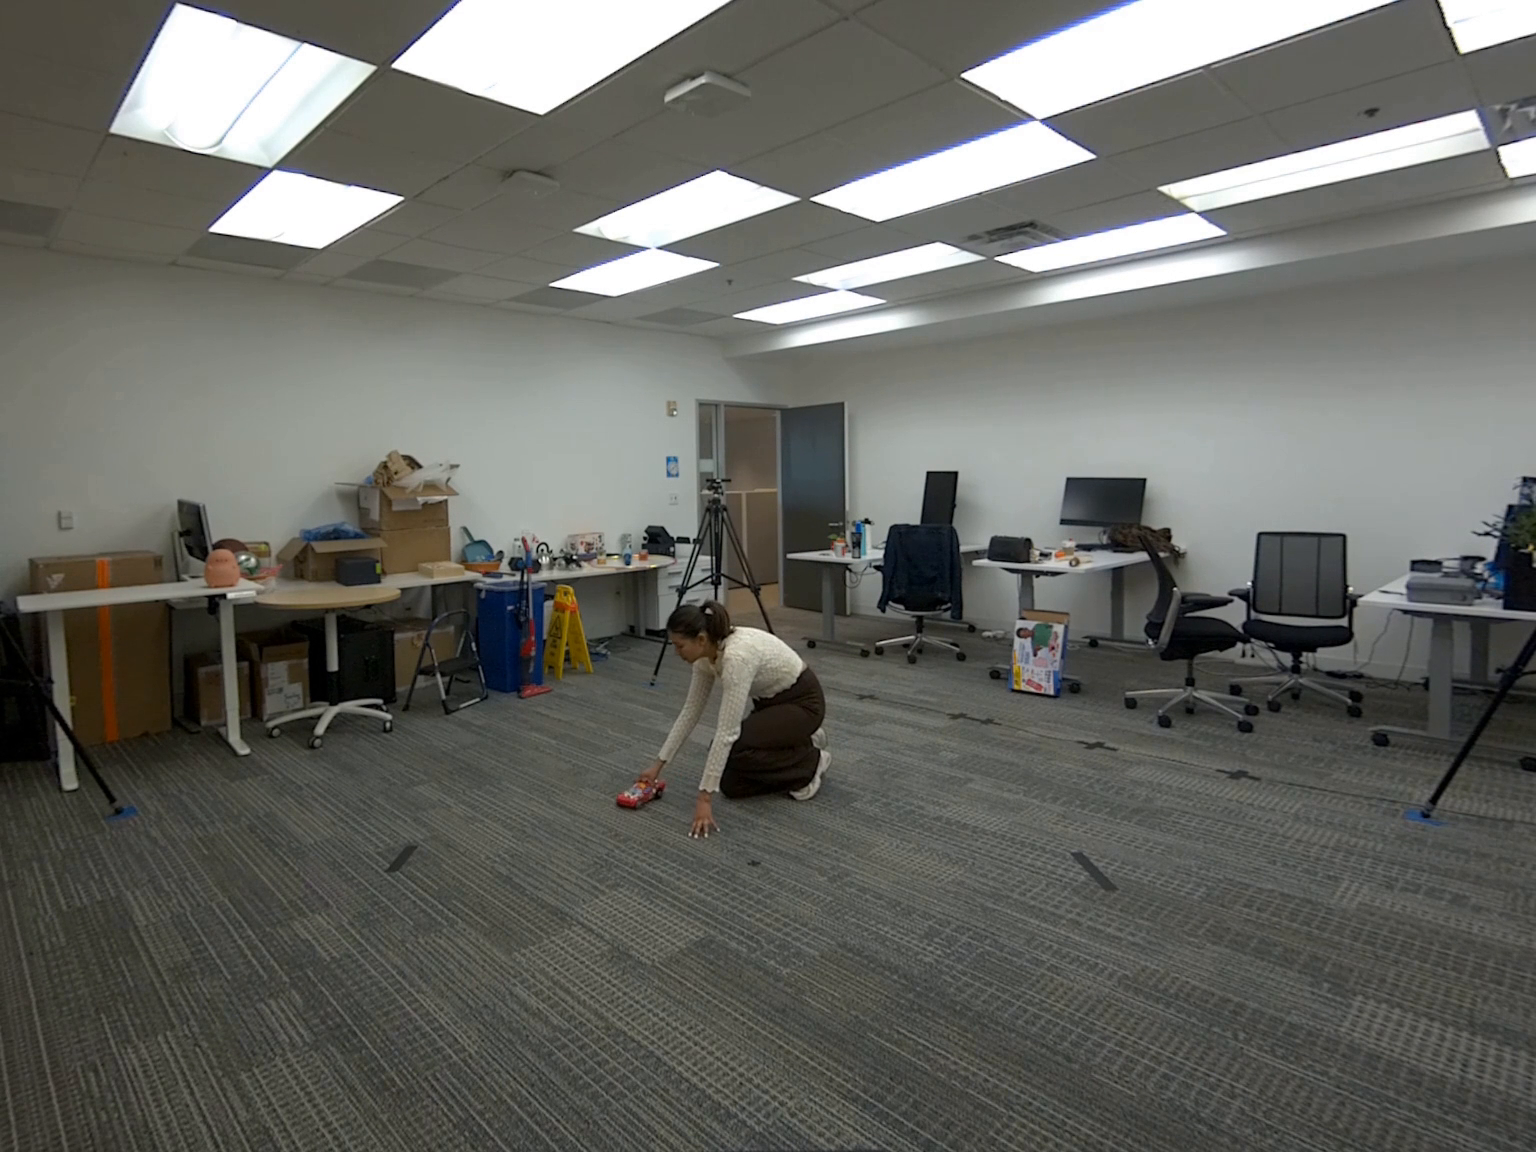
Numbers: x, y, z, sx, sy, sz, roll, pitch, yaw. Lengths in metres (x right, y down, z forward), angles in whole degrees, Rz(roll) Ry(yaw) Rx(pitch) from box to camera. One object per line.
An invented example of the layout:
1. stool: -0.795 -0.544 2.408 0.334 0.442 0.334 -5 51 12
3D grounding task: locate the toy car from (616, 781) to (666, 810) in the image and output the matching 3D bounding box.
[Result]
1. toy car: -0.550 0.952 3.749 0.134 0.082 0.251 0 16 31
